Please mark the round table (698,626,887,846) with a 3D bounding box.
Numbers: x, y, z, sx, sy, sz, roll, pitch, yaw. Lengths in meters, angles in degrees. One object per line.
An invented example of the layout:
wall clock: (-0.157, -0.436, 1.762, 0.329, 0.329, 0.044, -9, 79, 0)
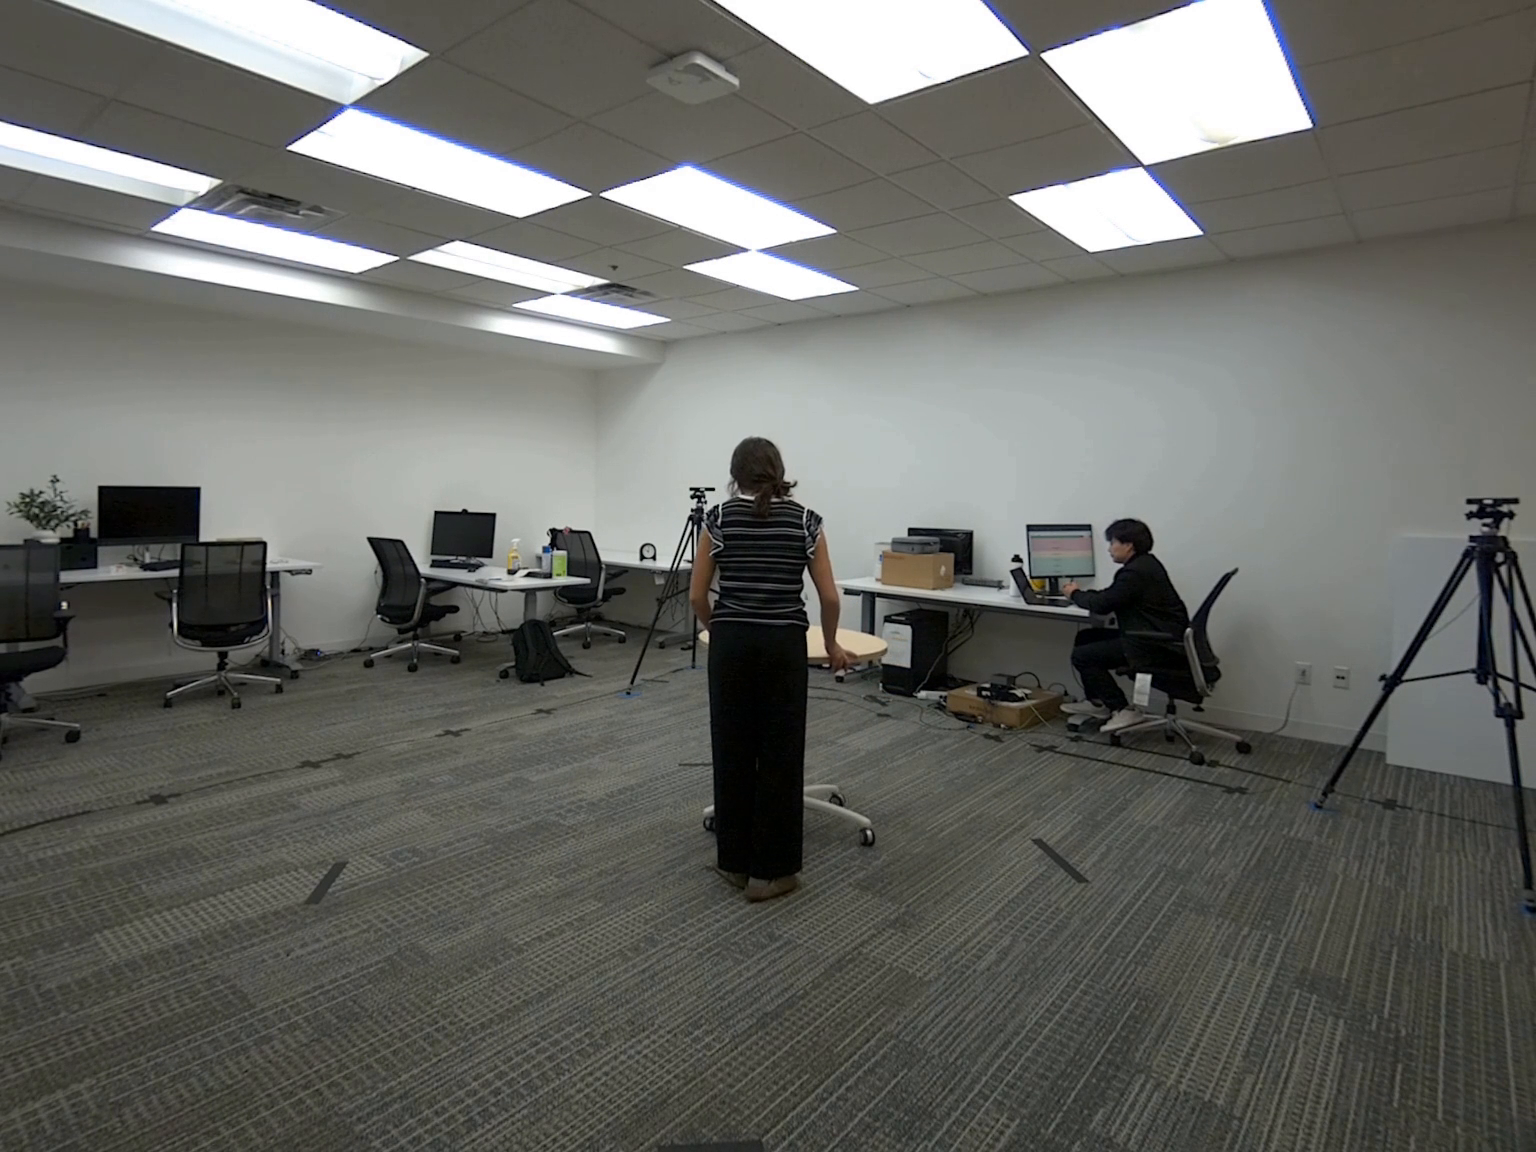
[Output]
round table: (0.097, 0.638, 3.504, 0.784, 0.784, 0.789, 1, 4, -2)
